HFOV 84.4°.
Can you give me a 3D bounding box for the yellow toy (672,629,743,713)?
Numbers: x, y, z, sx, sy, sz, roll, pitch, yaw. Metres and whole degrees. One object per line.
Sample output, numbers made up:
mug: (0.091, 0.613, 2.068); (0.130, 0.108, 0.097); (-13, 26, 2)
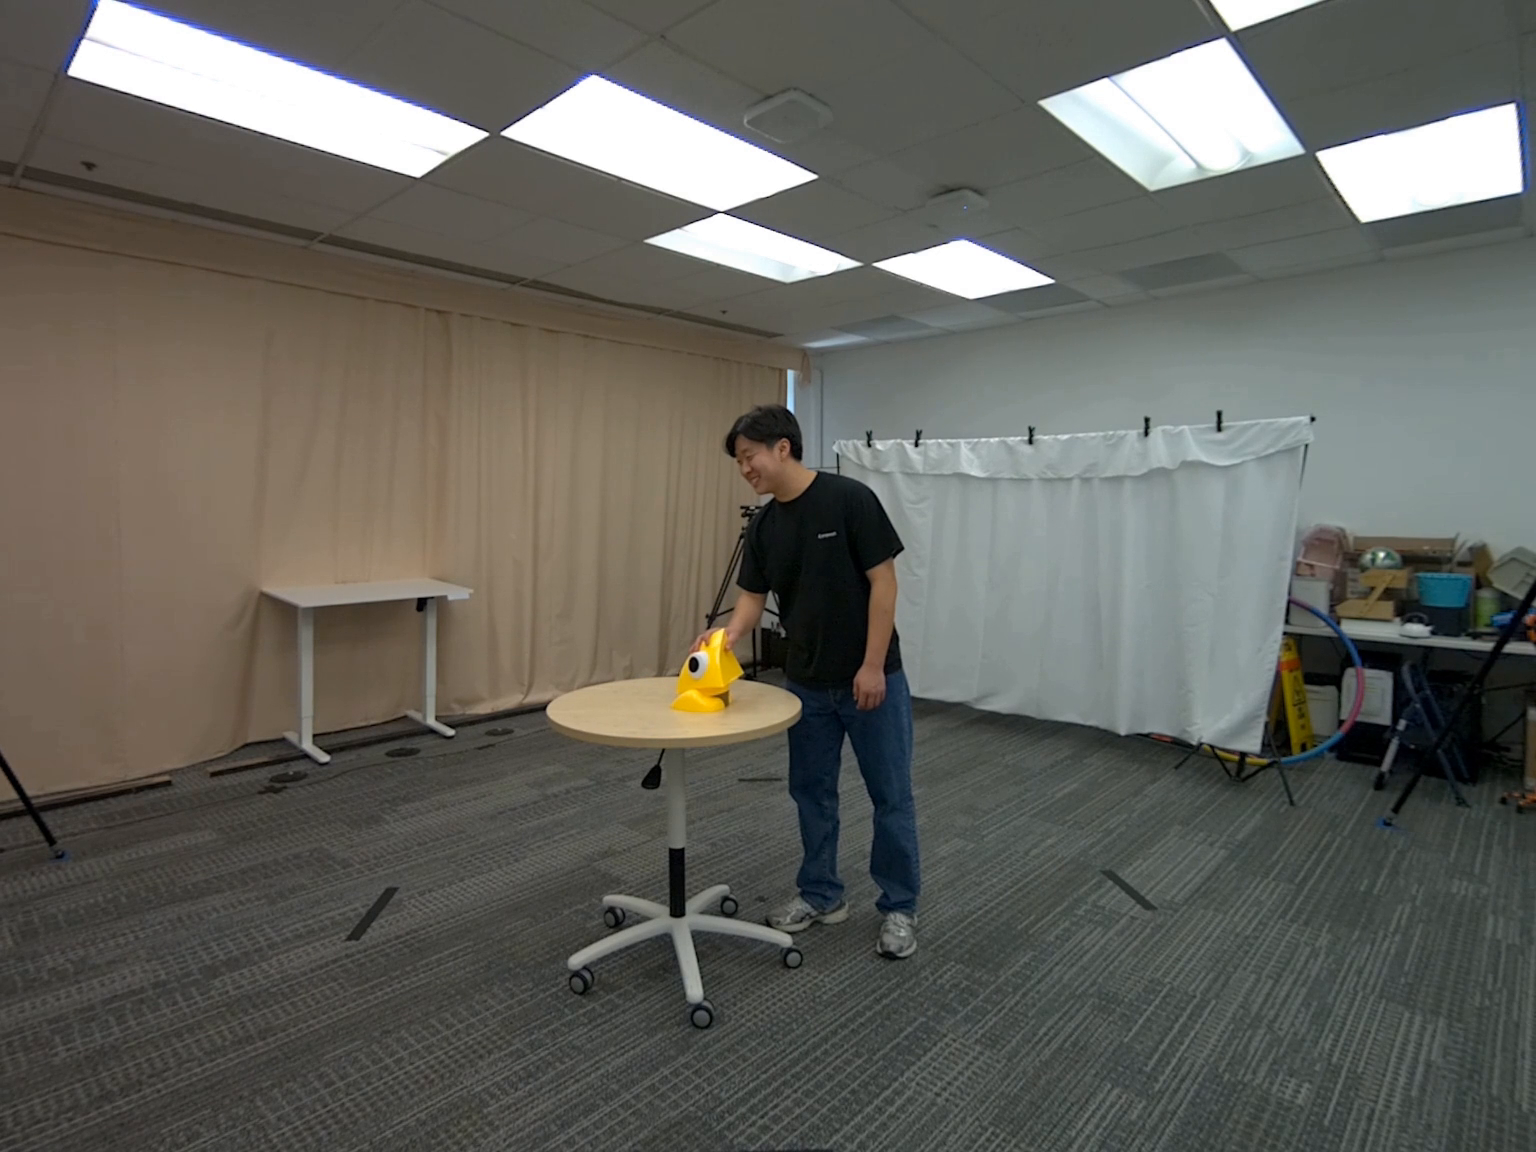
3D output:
yellow toy: (-0.187, 0.275, 2.529); (0.197, 0.230, 0.201); (1, 4, 17)
